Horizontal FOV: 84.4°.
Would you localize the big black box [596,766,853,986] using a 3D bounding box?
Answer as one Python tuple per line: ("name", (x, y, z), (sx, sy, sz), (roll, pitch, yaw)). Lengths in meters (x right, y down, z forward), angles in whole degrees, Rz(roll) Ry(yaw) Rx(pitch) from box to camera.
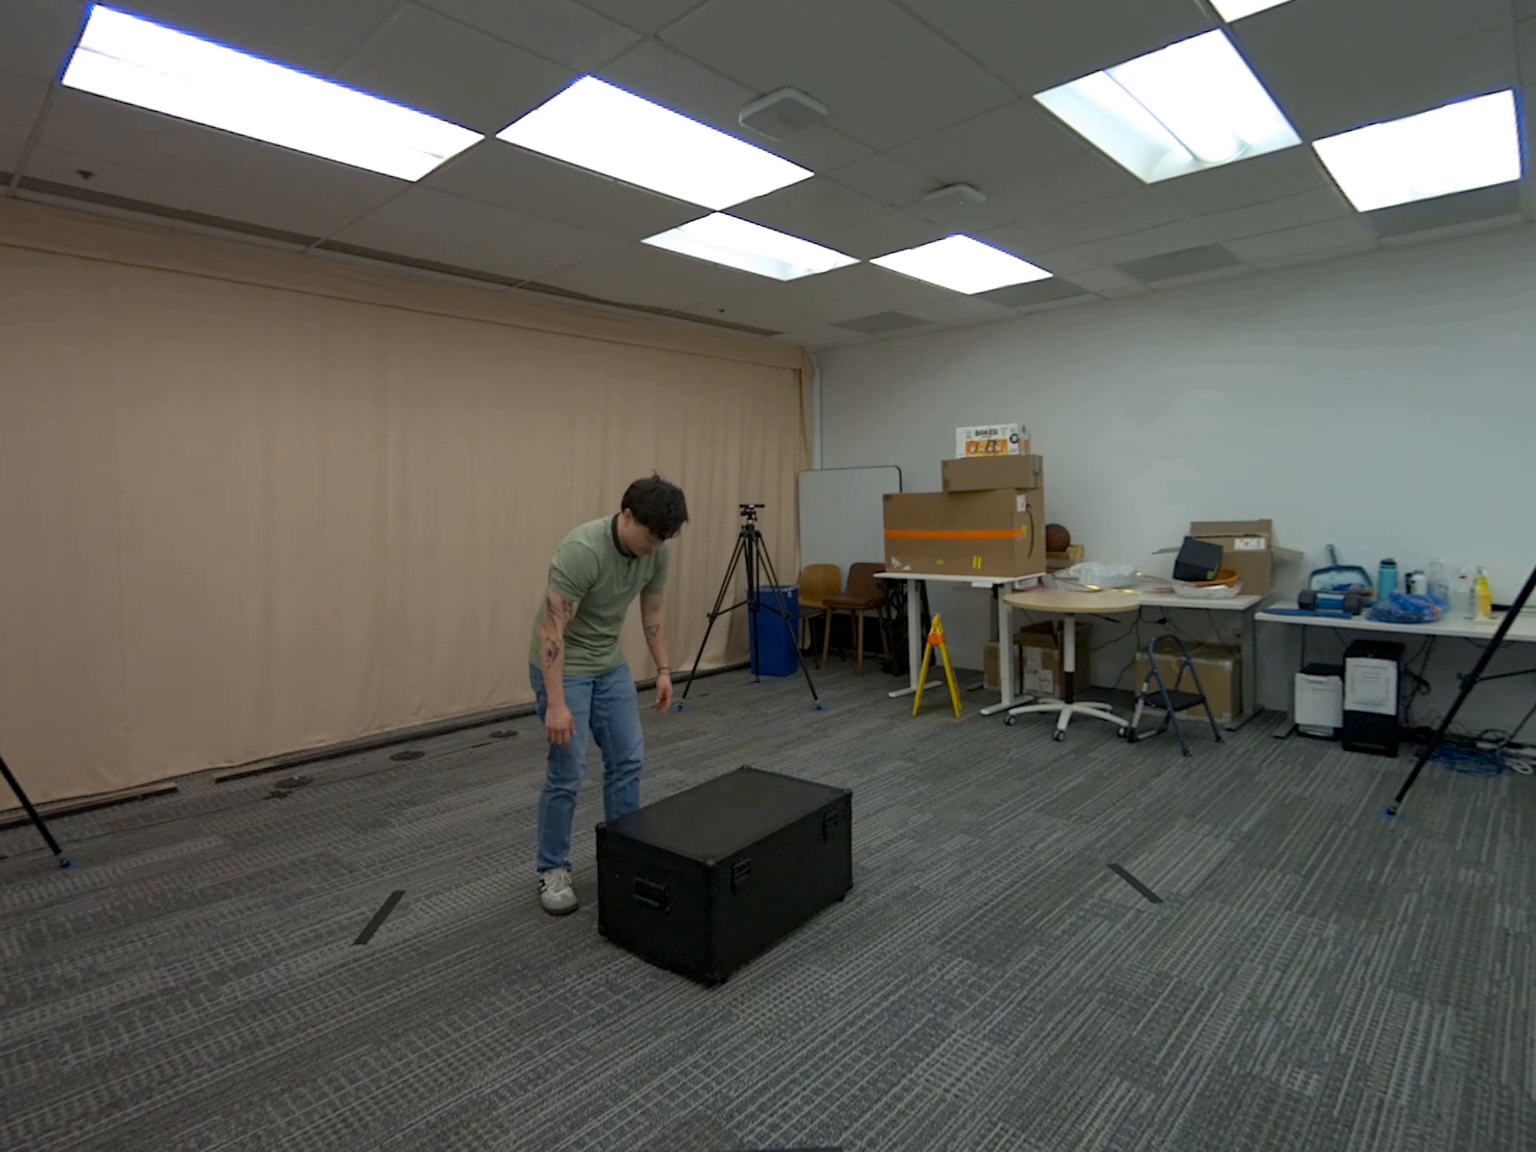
("big black box", (-0.095, 0.961, 2.859), (0.538, 0.395, 0.837), (2, 6, 38))
